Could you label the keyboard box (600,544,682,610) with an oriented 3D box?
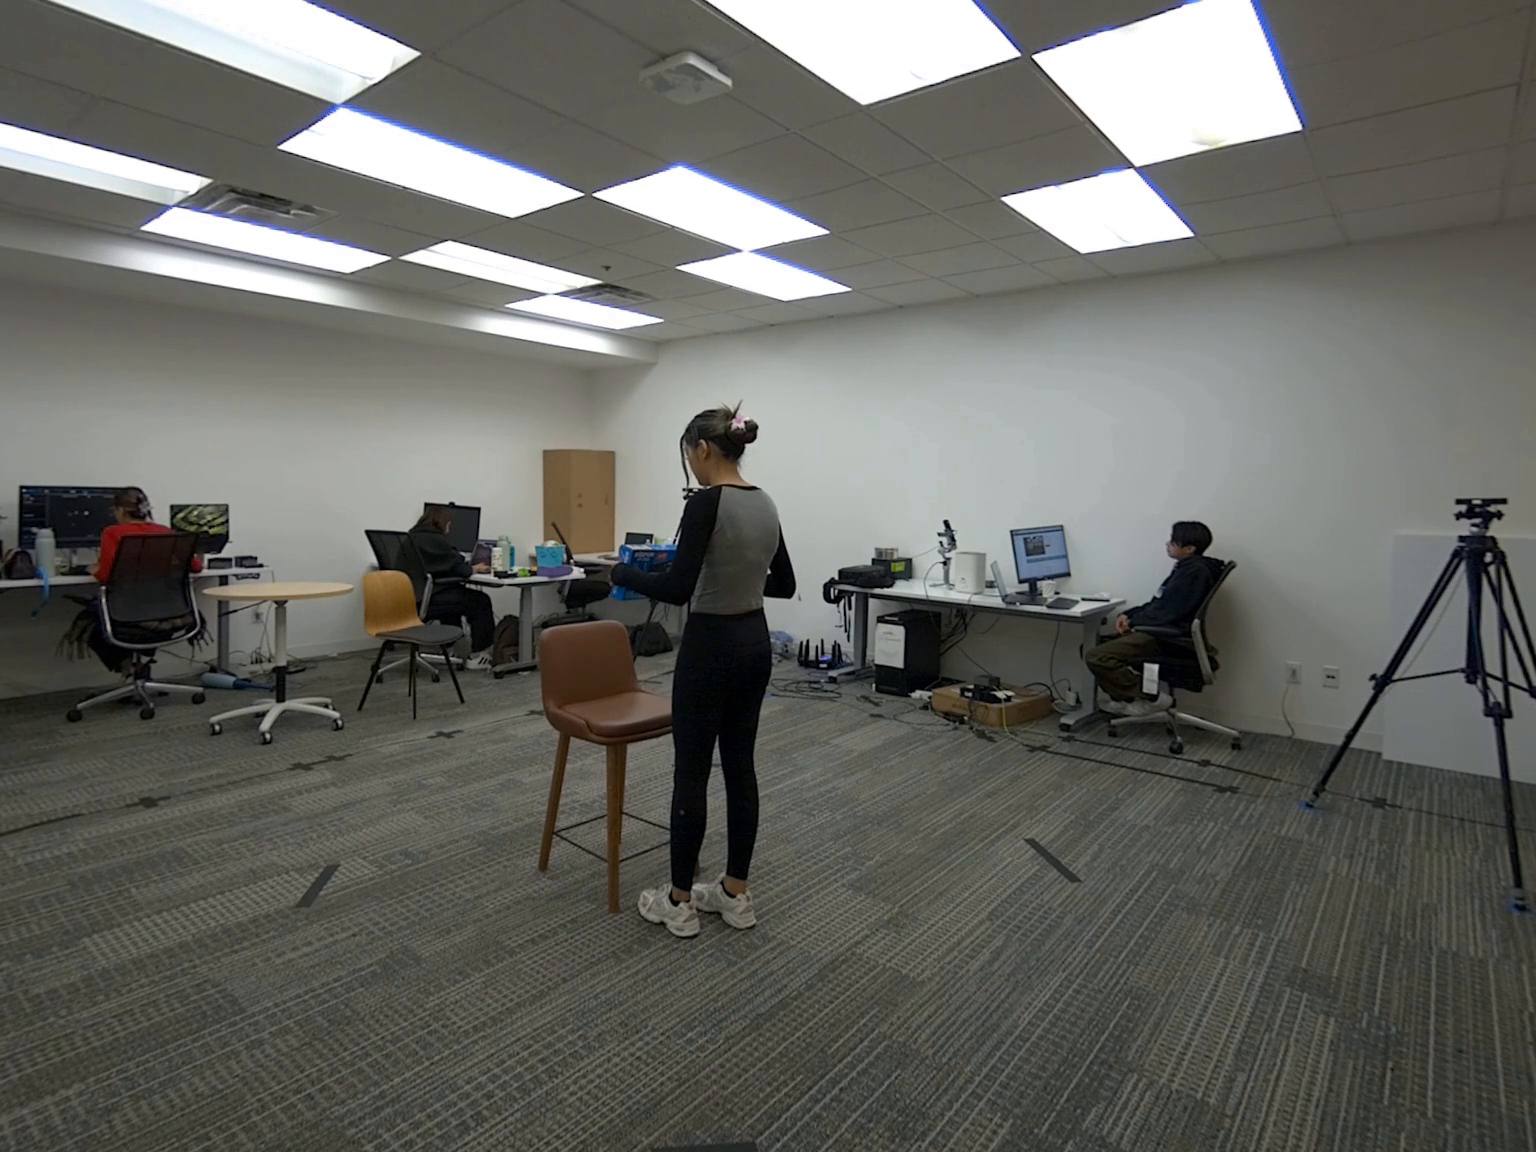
[{"bbox_3d":[-0.350,-0.017,2.889,0.061,0.174,0.424,20,13,35],"label":"keyboard box"}]
